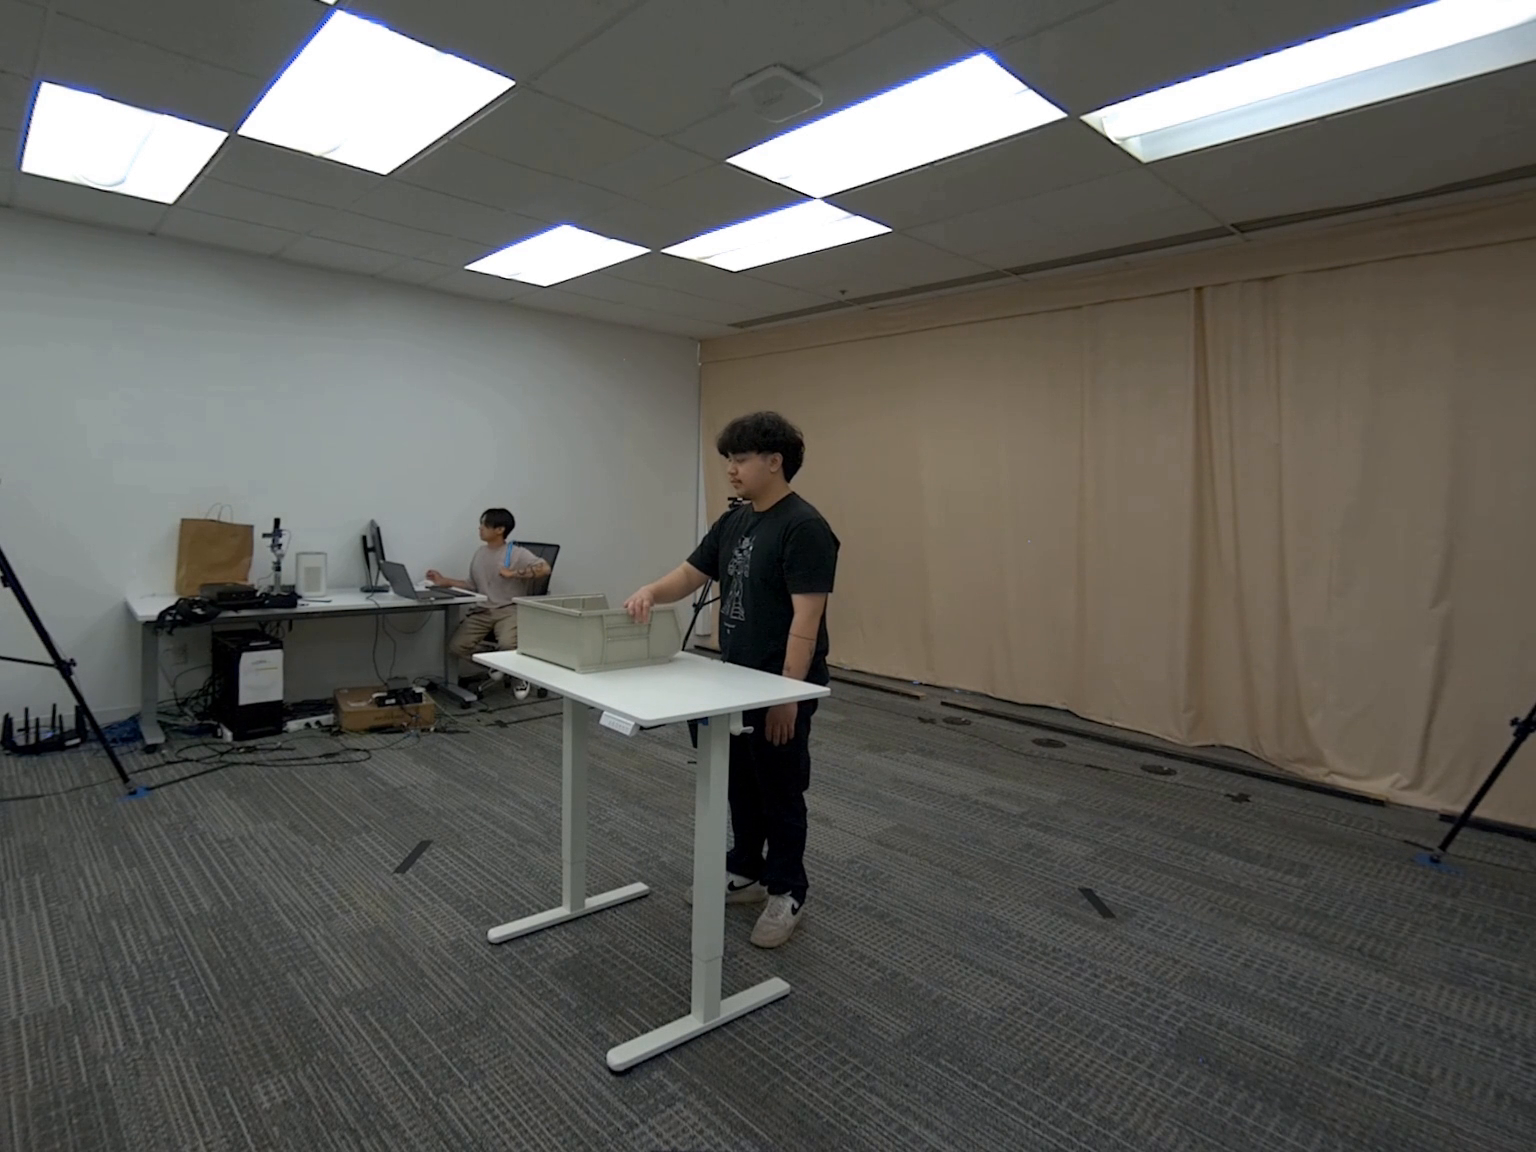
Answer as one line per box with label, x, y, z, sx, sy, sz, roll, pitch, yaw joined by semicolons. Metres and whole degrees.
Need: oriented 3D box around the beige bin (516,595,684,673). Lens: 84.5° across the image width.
beige bin;-0.540;0.171;2.665;0.369;0.188;0.433;-4;7;-41
